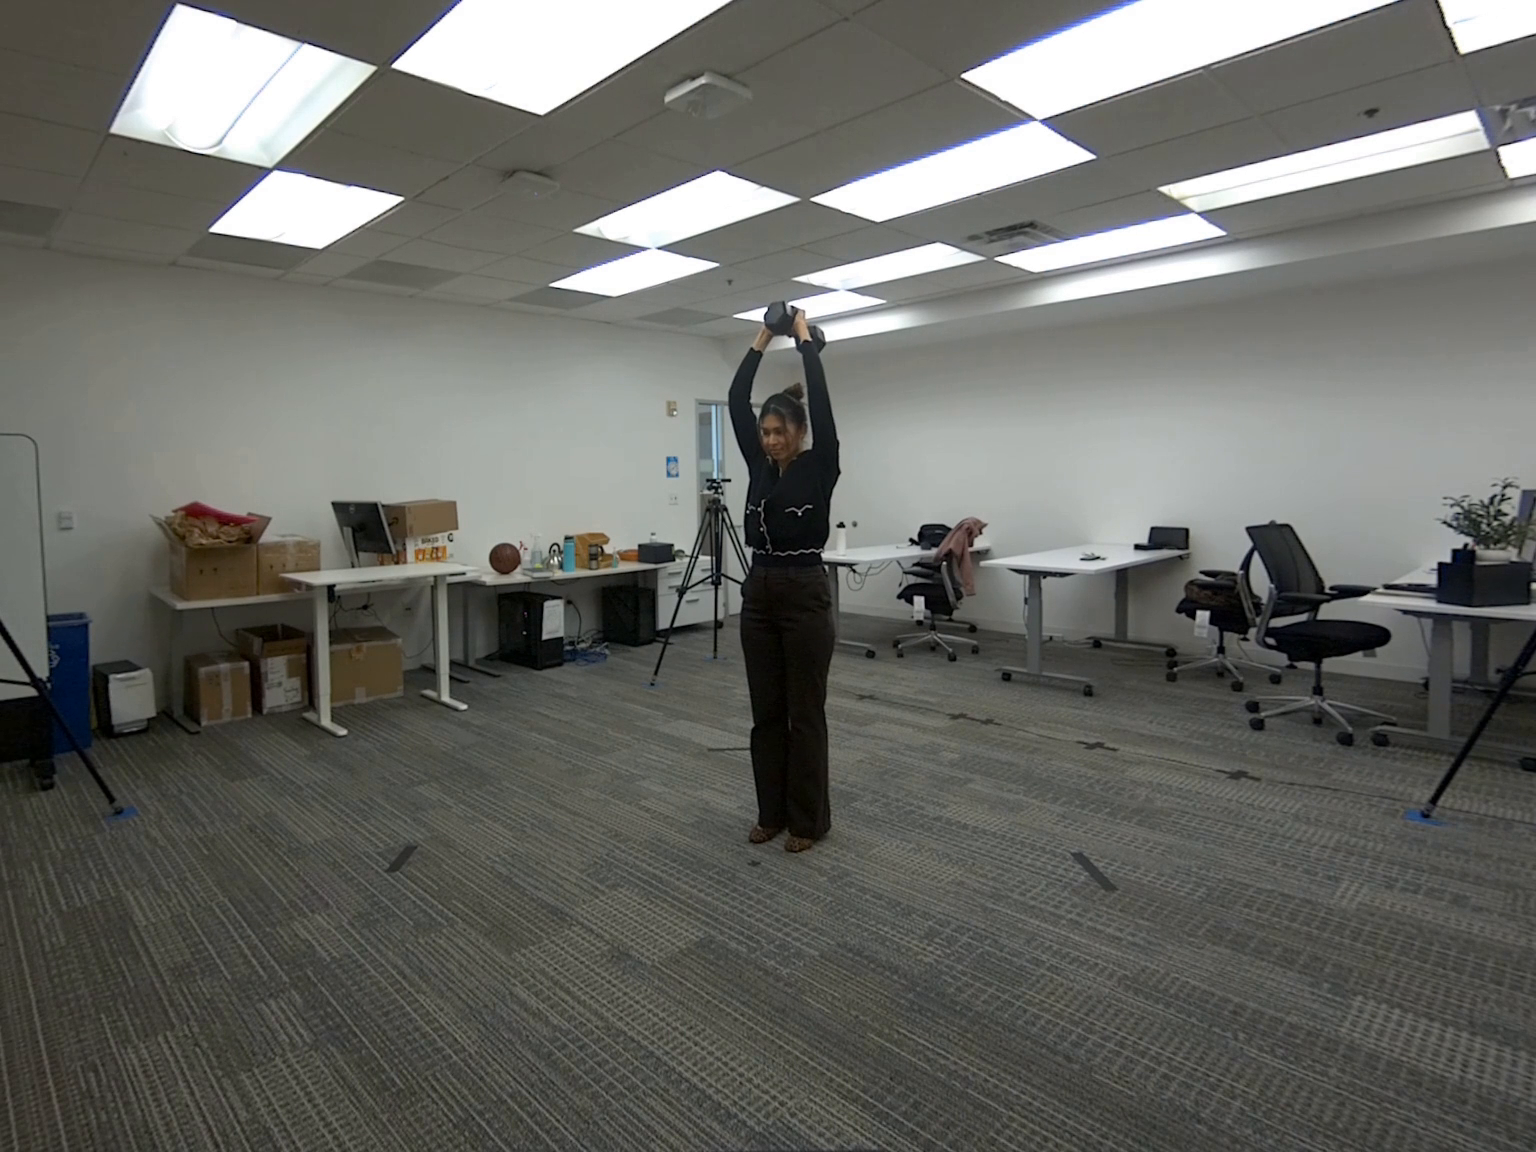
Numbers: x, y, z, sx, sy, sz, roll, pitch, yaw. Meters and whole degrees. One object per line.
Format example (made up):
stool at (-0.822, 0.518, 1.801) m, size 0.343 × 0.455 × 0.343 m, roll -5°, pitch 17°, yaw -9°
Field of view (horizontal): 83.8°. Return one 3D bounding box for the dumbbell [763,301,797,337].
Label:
dumbbell at (0.107, -0.966, 3.341) m, size 0.110 × 0.126 × 0.283 m, roll -24°, pitch -28°, yaw 31°
